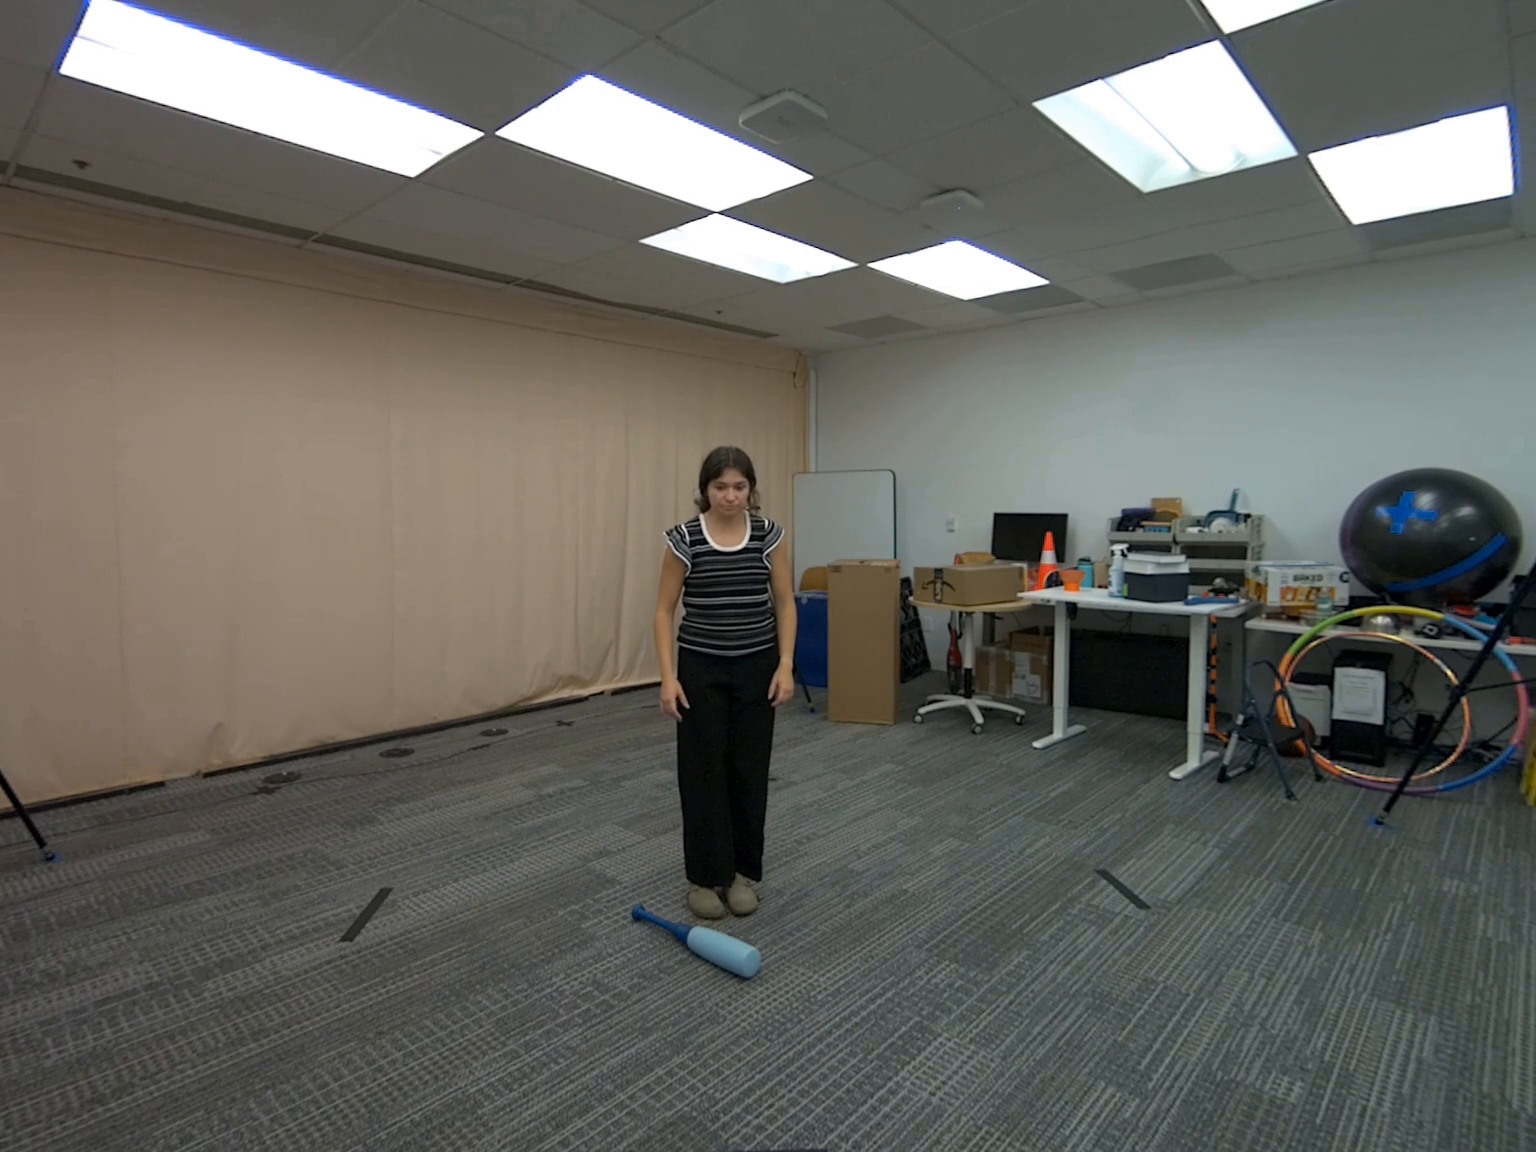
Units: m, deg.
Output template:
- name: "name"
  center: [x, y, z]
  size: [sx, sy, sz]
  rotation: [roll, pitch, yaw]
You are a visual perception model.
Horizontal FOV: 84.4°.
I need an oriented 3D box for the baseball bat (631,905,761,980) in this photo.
- name: "baseball bat"
  center: [-0.247, 1.137, 2.657]
  size: [0.560, 0.089, 0.086]
  rotation: [-1, 2, 44]
